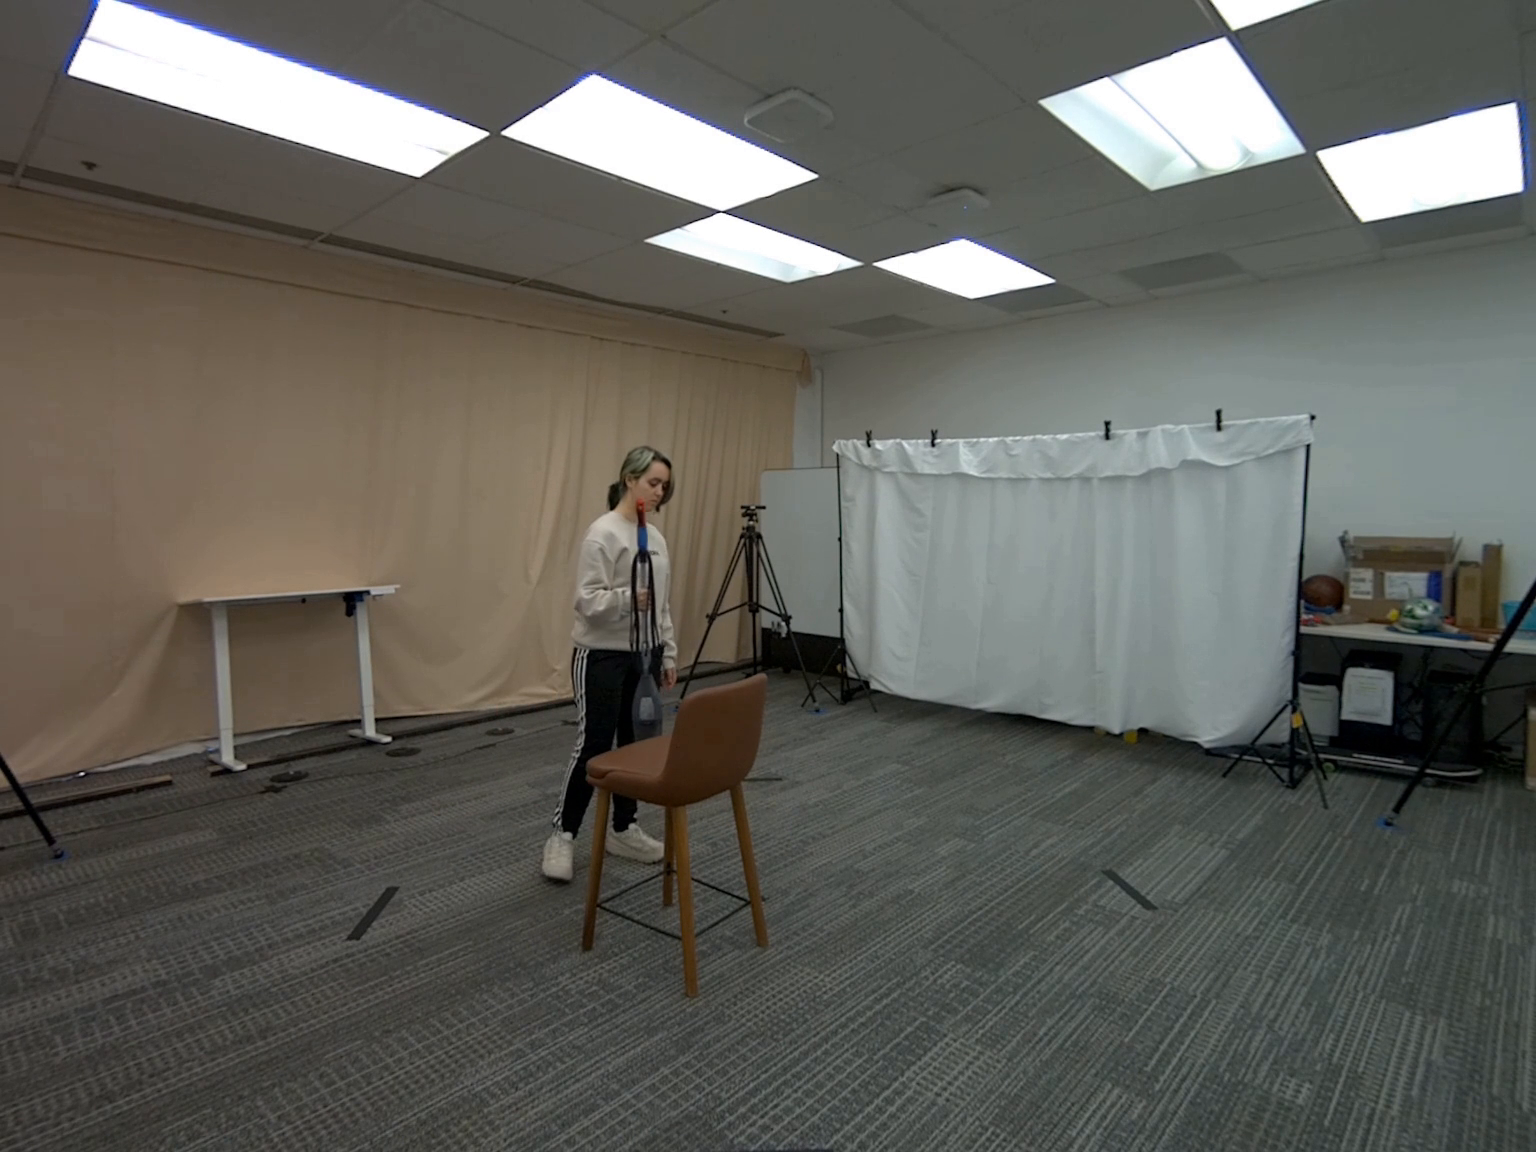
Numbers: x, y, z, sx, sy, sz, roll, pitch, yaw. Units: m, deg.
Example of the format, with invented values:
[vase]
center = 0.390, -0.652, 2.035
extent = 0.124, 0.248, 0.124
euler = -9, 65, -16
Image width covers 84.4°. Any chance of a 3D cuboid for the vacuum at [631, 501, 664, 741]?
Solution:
[vacuum]
center = -0.441, 0.252, 2.996
extent = 0.251, 1.042, 0.146
euler = -1, 11, -5
